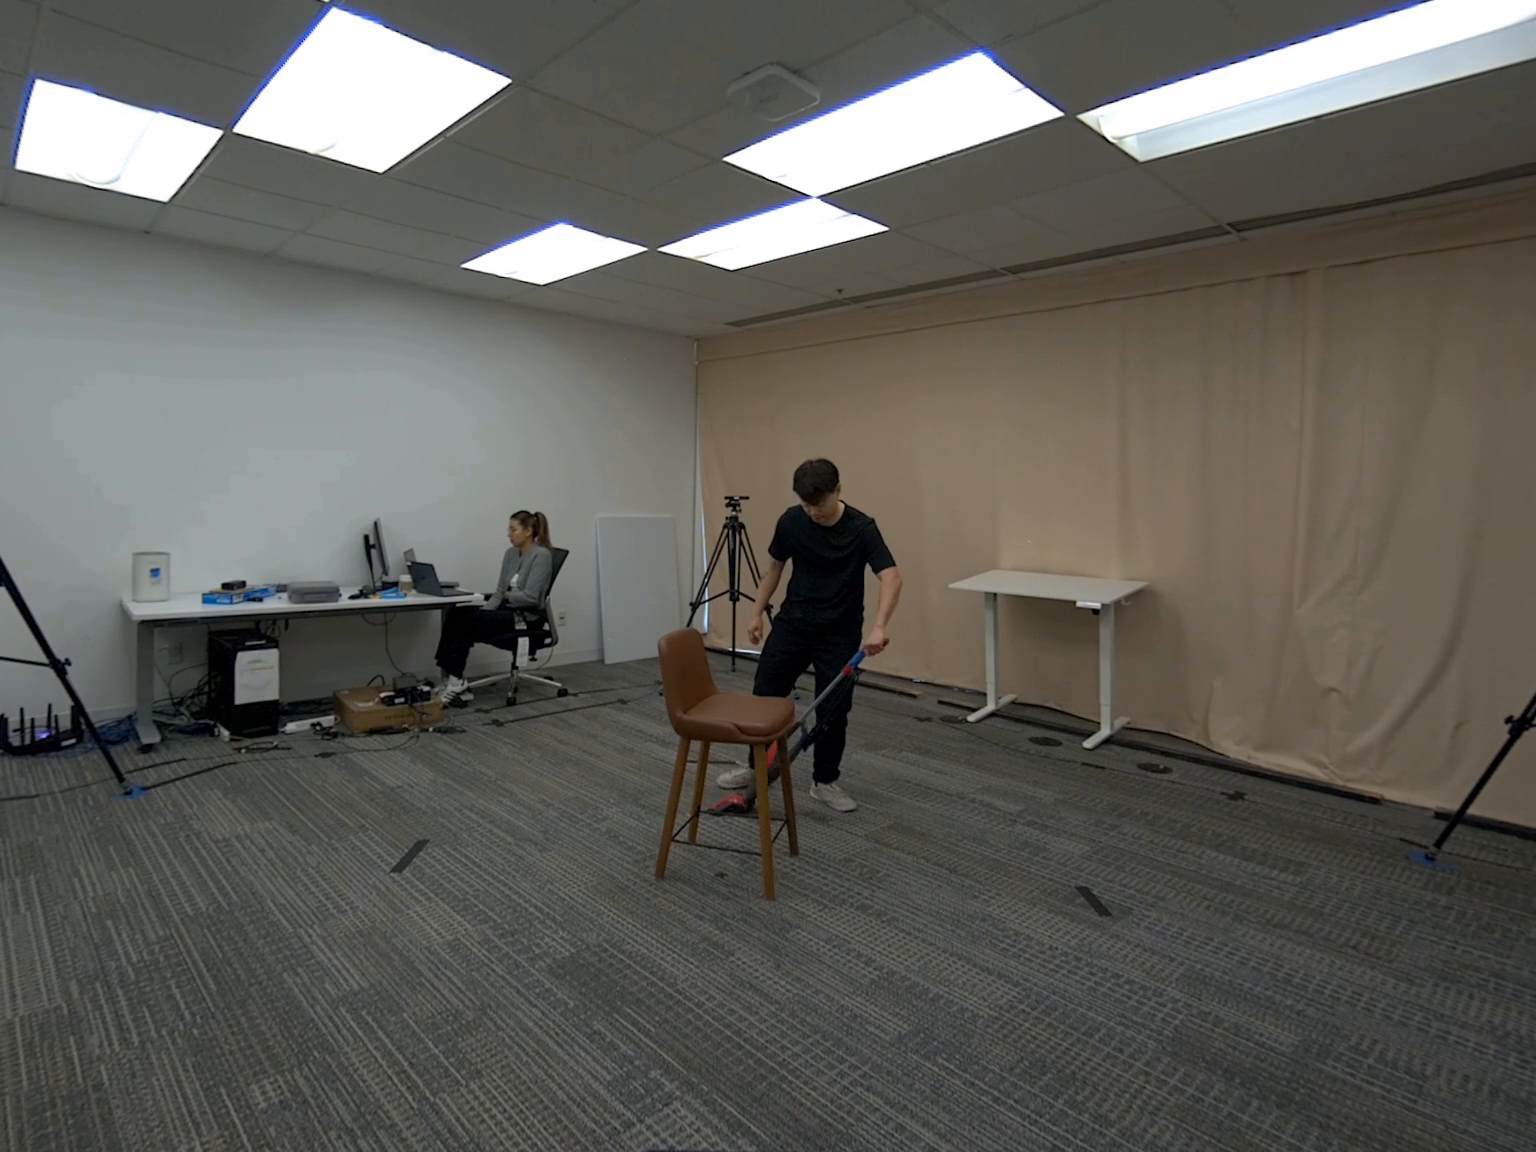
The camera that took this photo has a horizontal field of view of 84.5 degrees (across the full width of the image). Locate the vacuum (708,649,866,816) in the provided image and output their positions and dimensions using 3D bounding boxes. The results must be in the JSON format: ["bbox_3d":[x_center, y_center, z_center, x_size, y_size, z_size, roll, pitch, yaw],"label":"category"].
[{"bbox_3d":[0.157,0.655,3.607,0.246,1.048,0.148,9,37,-53],"label":"vacuum"}]
